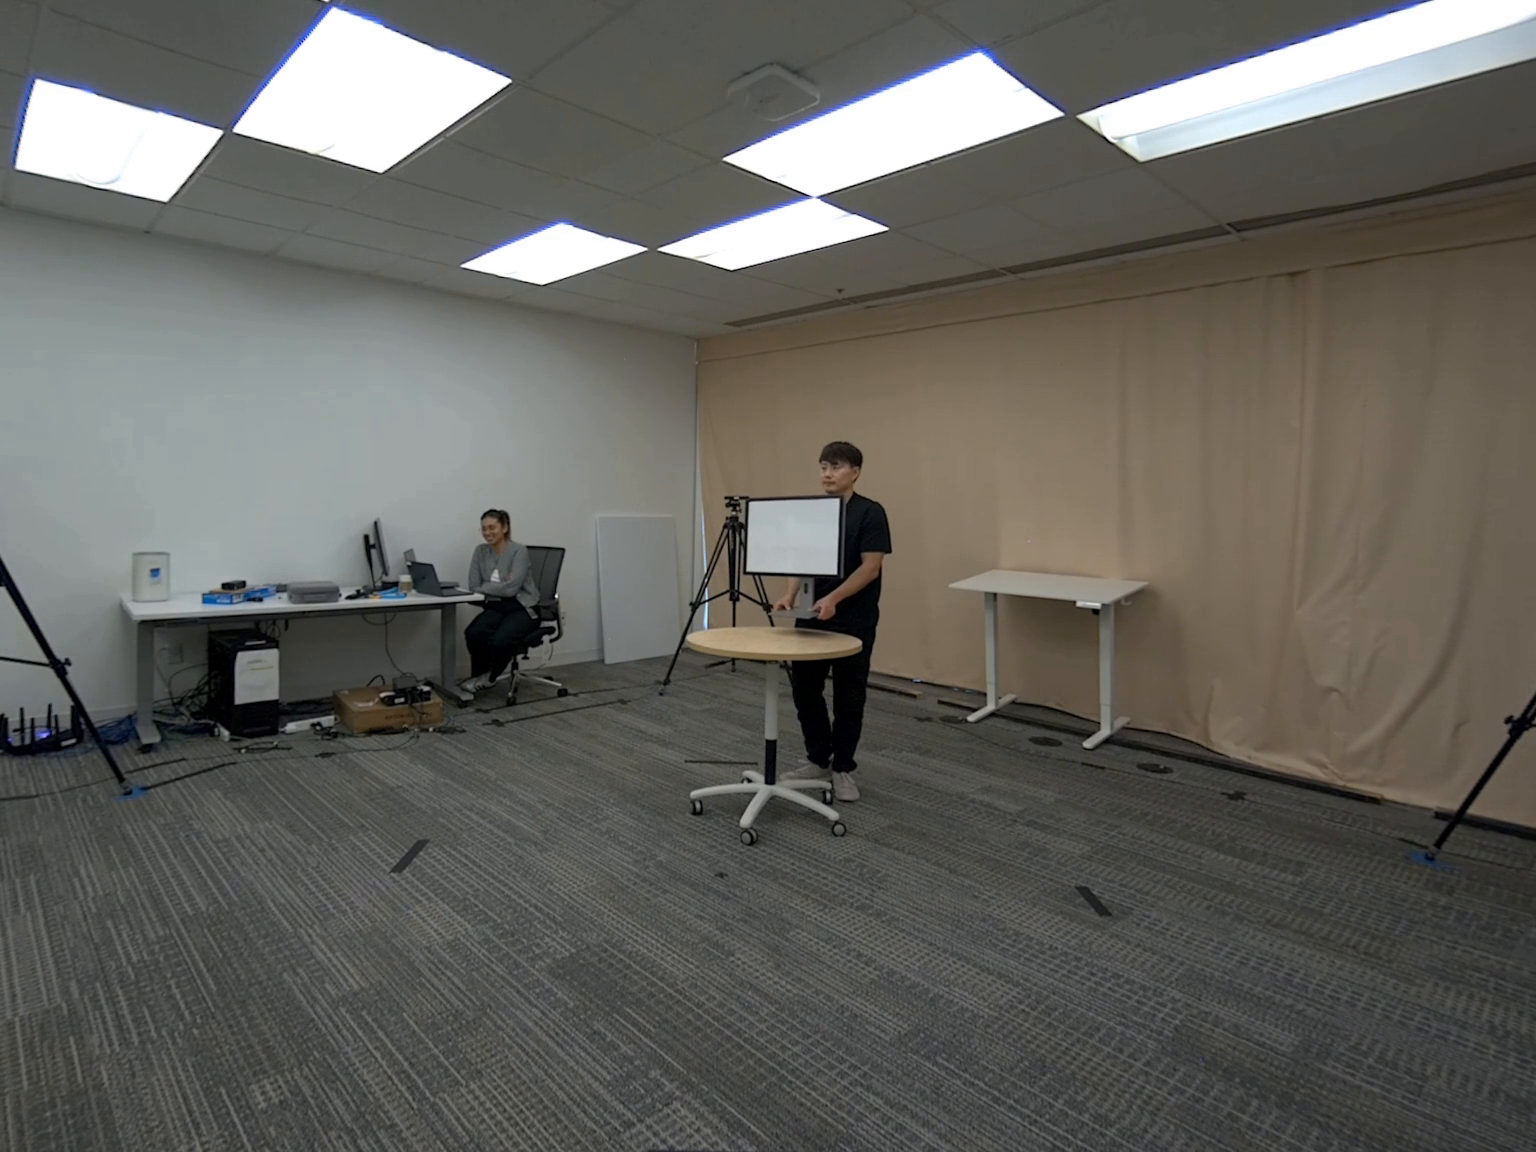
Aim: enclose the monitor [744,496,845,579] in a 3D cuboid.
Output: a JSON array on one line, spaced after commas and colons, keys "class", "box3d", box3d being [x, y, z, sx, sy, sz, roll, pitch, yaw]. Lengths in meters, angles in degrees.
[{"class": "monitor", "box3d": [0.121, -0.095, 3.827, 0.552, 0.519, 0.184, 1, 10, 40]}]
